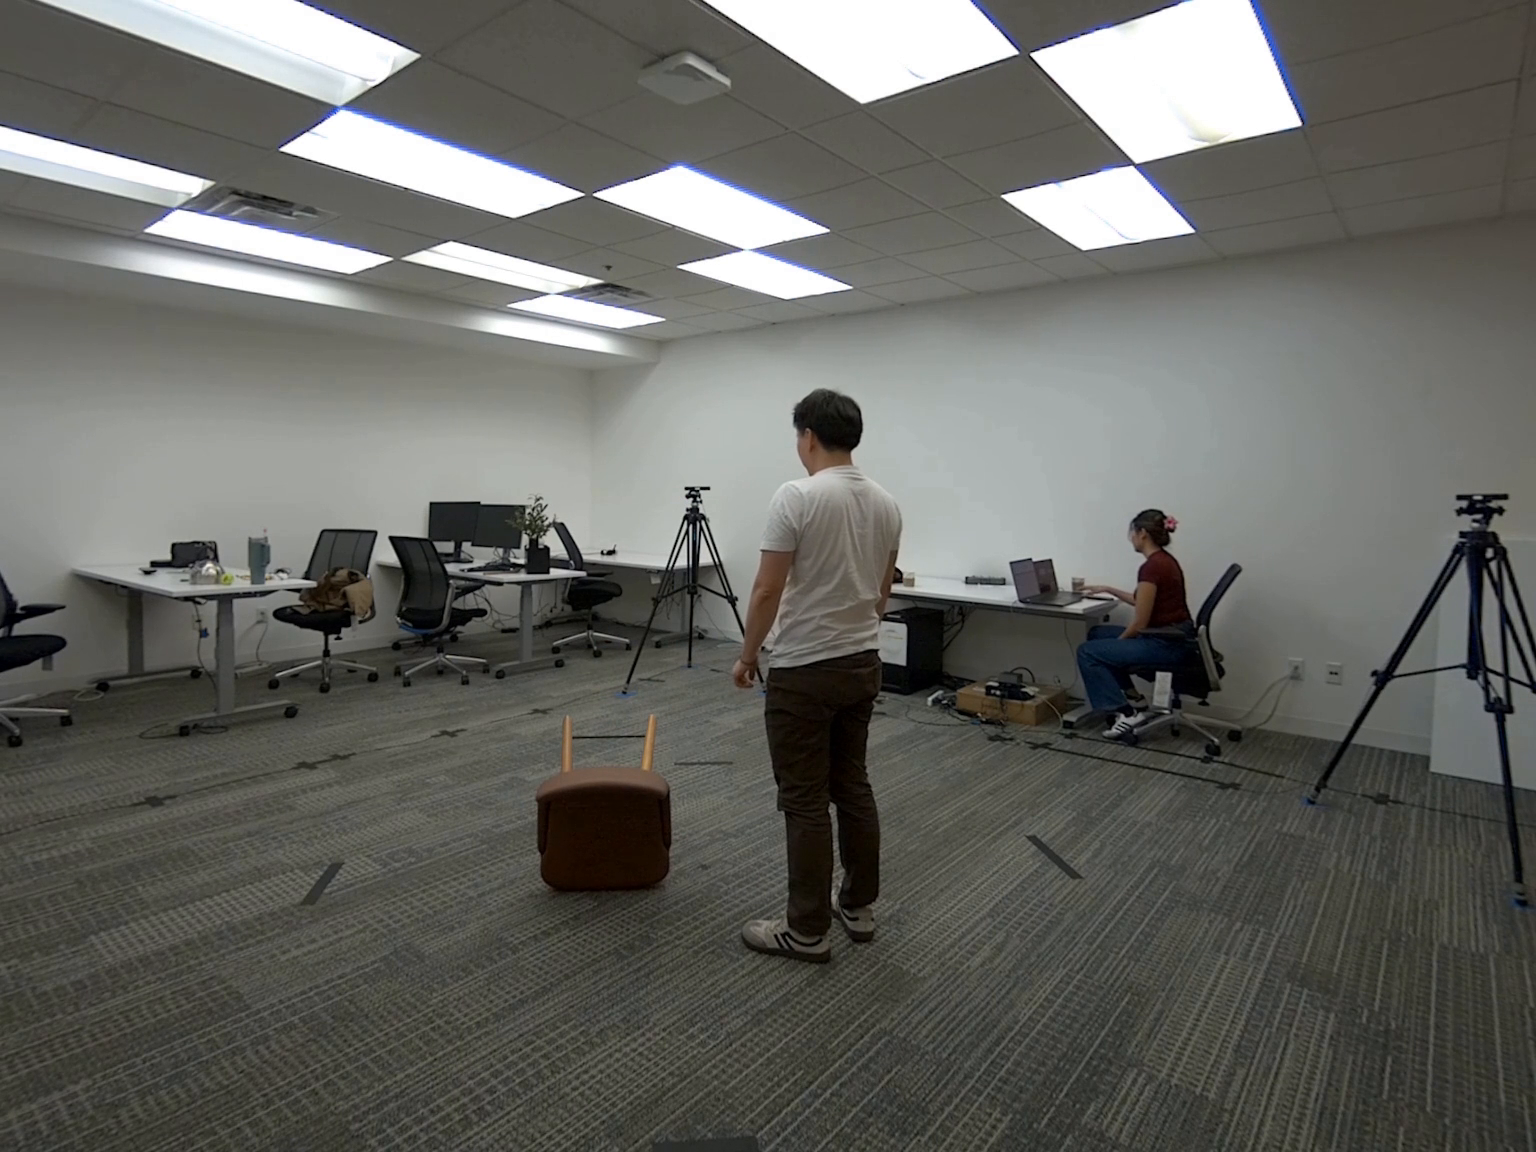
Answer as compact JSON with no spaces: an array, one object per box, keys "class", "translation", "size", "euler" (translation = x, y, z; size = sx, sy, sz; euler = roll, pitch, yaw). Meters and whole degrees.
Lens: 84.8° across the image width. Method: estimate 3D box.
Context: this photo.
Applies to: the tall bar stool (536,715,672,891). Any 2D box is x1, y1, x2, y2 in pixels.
[{"class":"tall bar stool","translation":[-0.594,0.833,3.066],"size":[0.453,0.466,0.899],"euler":[0,4,-8]}]
